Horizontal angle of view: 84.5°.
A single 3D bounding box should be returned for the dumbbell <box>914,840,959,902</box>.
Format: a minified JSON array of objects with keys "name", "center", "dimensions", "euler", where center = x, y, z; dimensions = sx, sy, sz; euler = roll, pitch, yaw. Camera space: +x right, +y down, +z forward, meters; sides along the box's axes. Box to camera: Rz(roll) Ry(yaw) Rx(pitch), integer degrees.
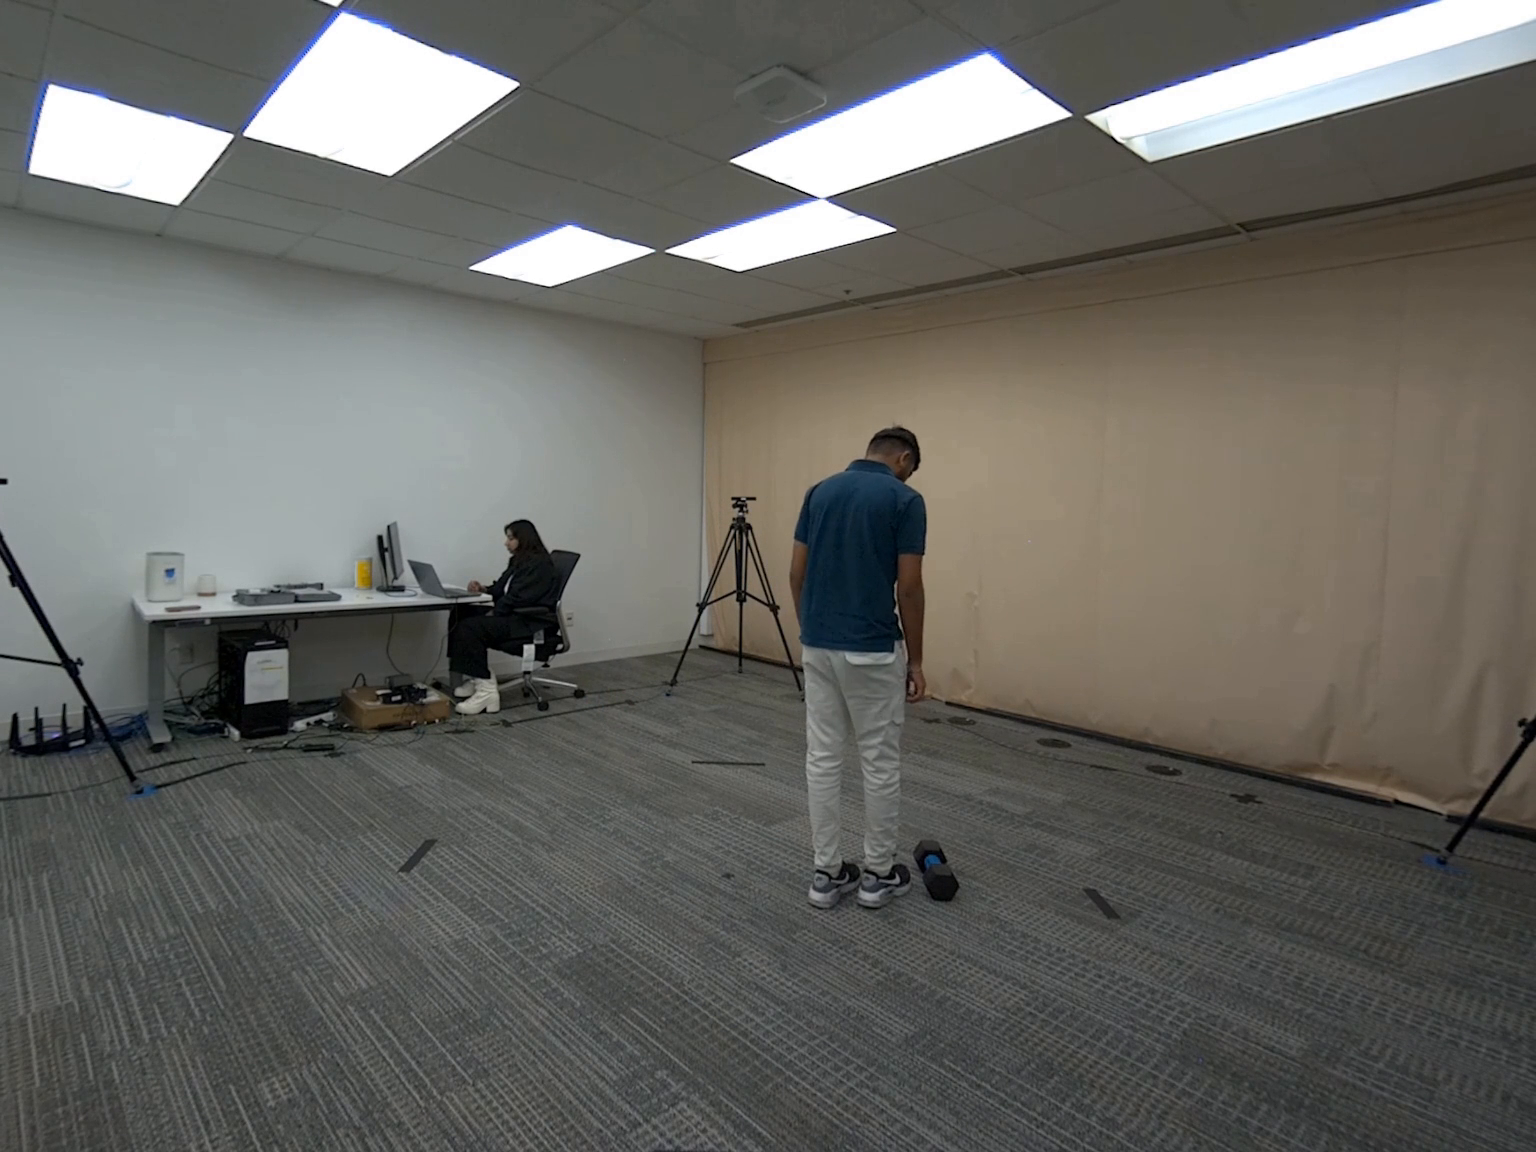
[{"name":"dumbbell","center":[0.609,1.077,3.083],"dimensions":[0.108,0.123,0.294],"euler":[32,4,-3]}]
